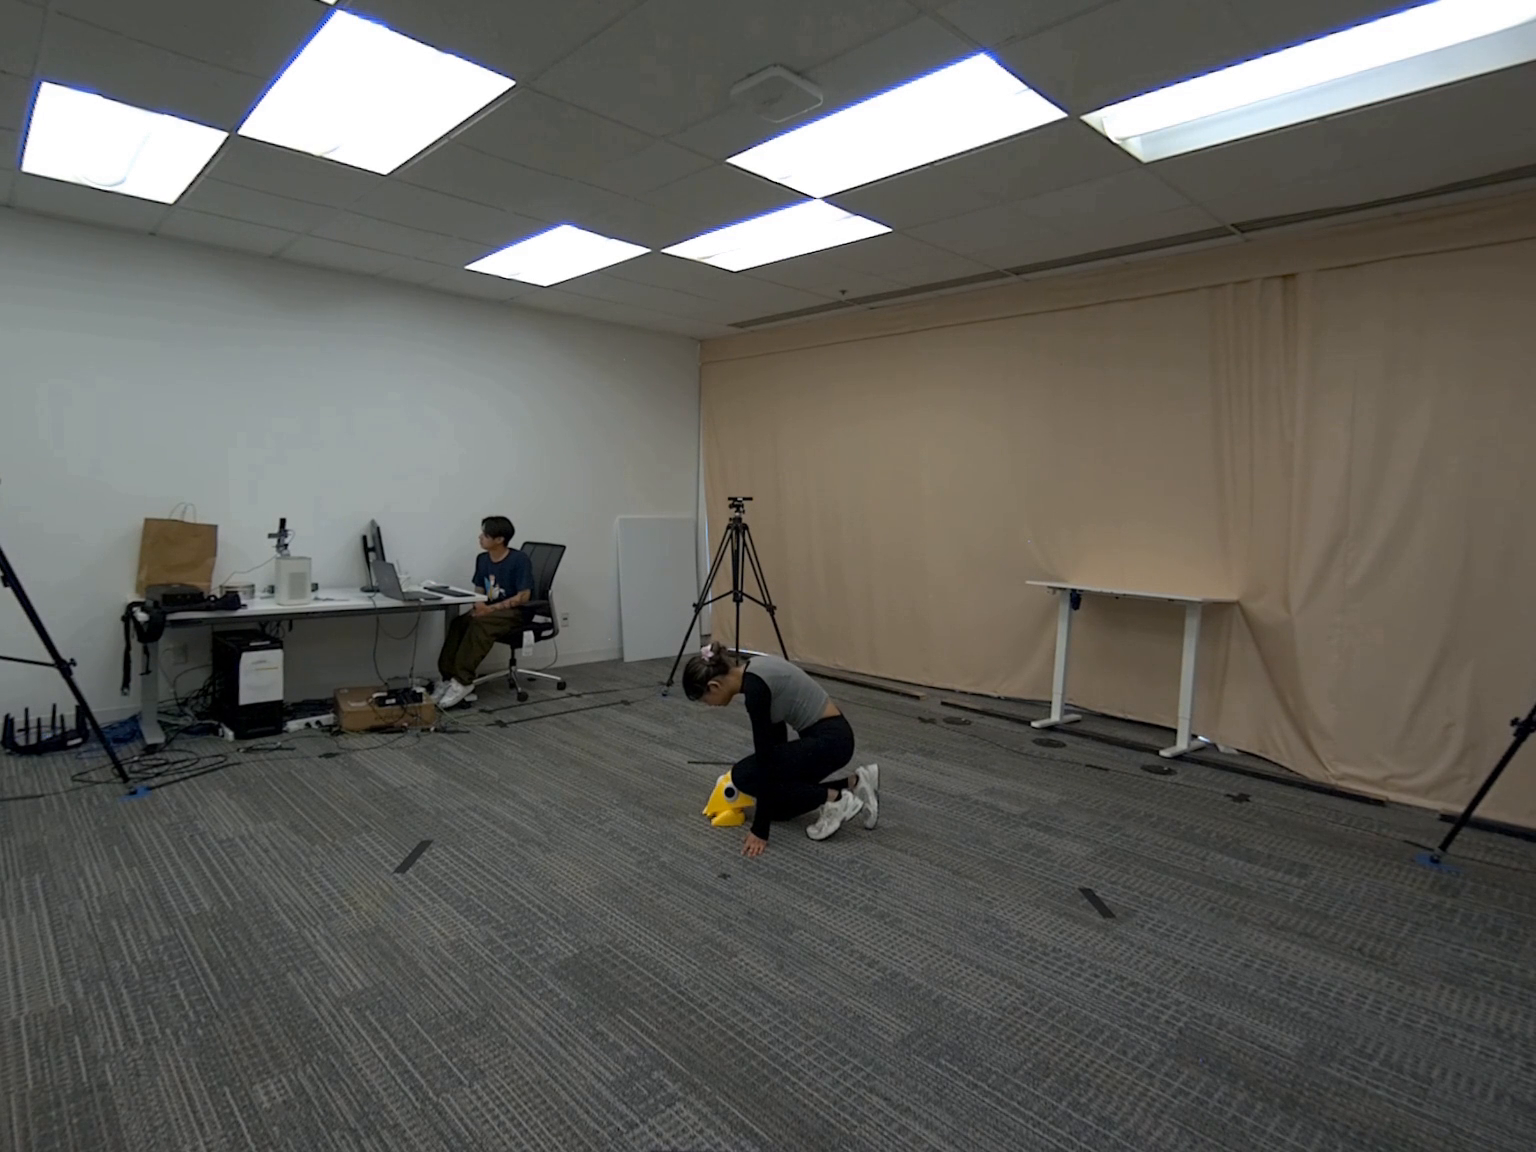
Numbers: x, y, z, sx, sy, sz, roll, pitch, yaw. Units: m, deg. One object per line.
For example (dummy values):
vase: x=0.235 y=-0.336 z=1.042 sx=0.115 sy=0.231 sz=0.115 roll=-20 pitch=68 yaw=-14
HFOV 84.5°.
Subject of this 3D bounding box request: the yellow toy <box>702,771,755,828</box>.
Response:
yellow toy: x=-0.183 y=0.940 z=3.688 sx=0.190 sy=0.230 sz=0.208 roll=1 pitch=3 yaw=-21
